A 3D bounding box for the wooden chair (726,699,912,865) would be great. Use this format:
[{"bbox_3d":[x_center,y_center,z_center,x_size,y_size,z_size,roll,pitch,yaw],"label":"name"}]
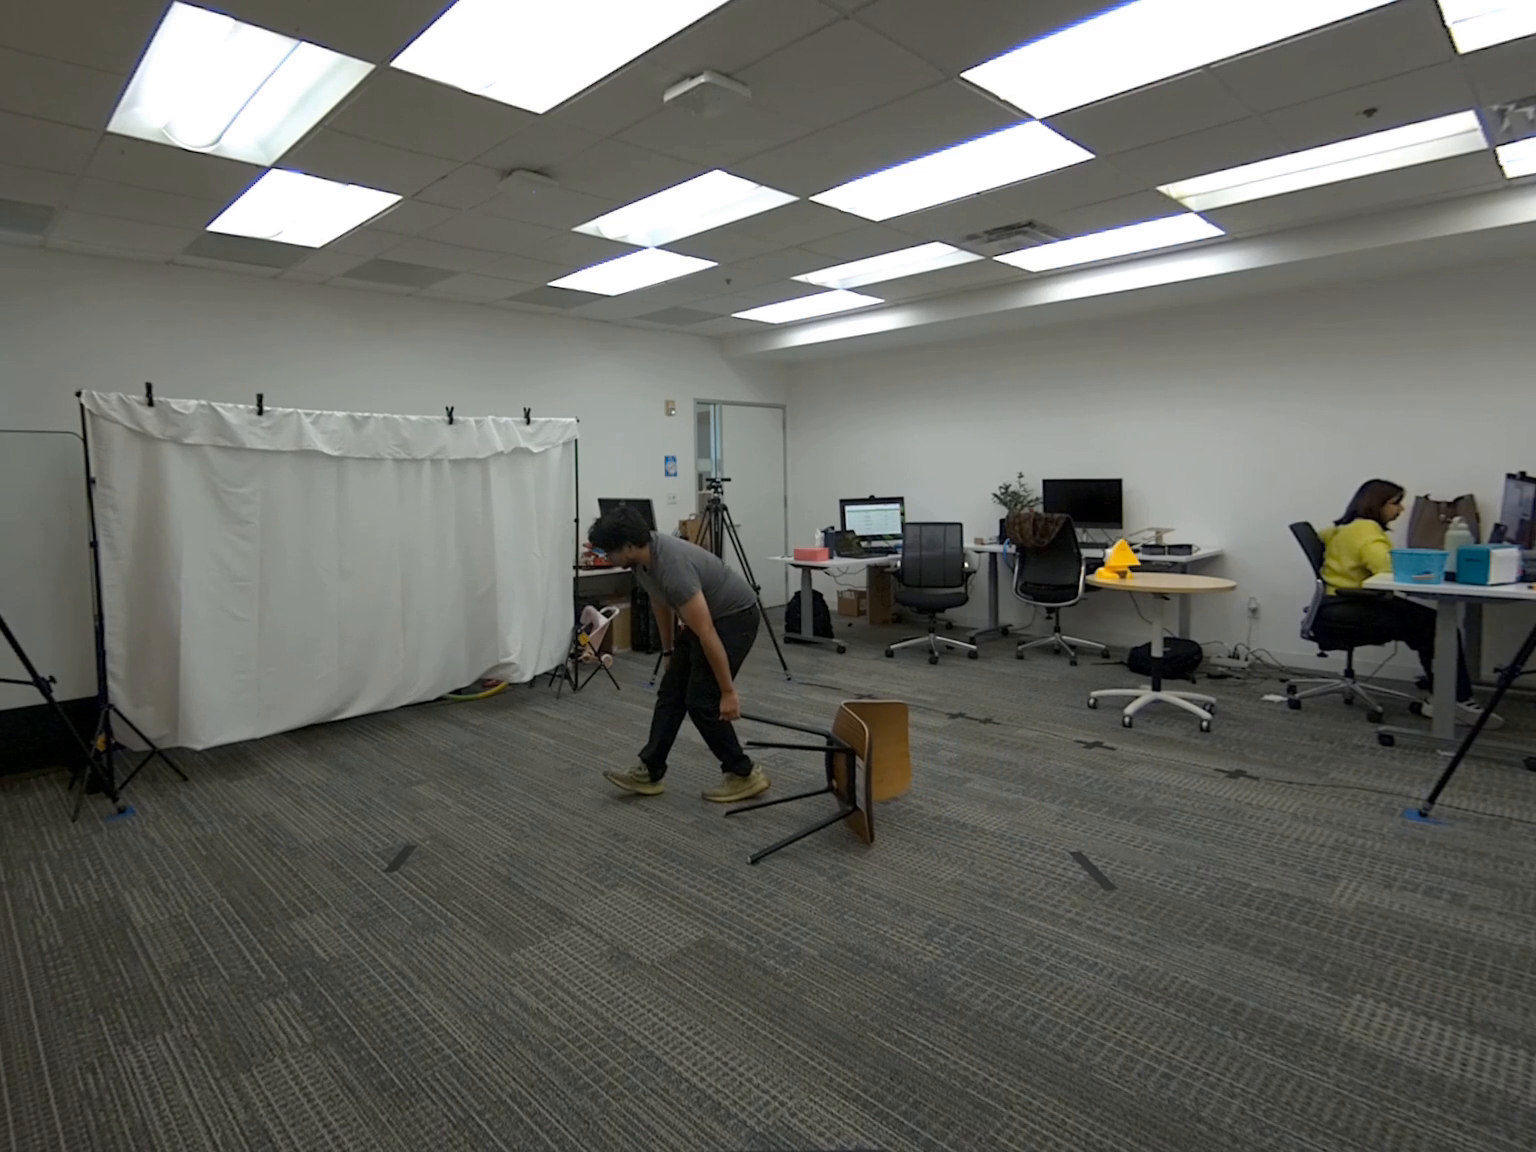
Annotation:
[{"bbox_3d":[0.283,0.772,3.381,0.864,0.476,0.533,-2,5,-17],"label":"wooden chair"}]
